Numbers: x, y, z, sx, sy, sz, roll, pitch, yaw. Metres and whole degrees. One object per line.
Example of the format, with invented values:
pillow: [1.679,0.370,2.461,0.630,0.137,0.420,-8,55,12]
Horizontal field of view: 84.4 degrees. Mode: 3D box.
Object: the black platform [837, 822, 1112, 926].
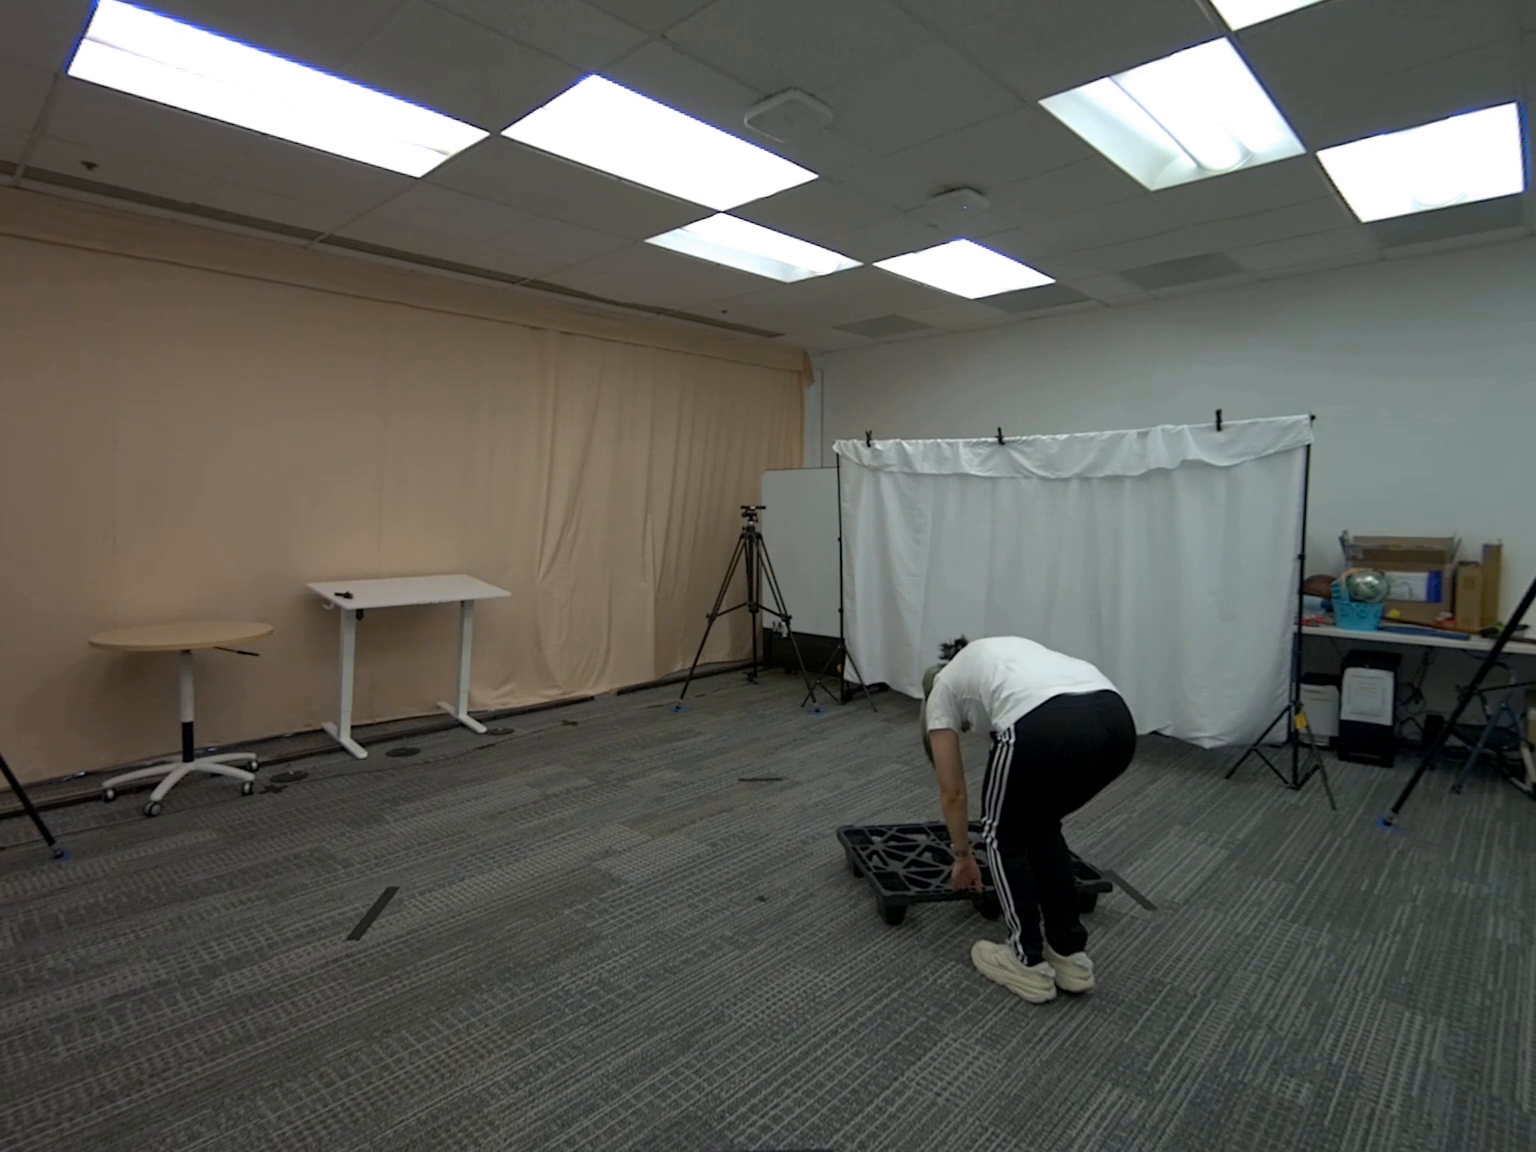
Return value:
black platform: [0.719,1.067,3.054,0.798,0.143,0.612,-1,5,-9]
